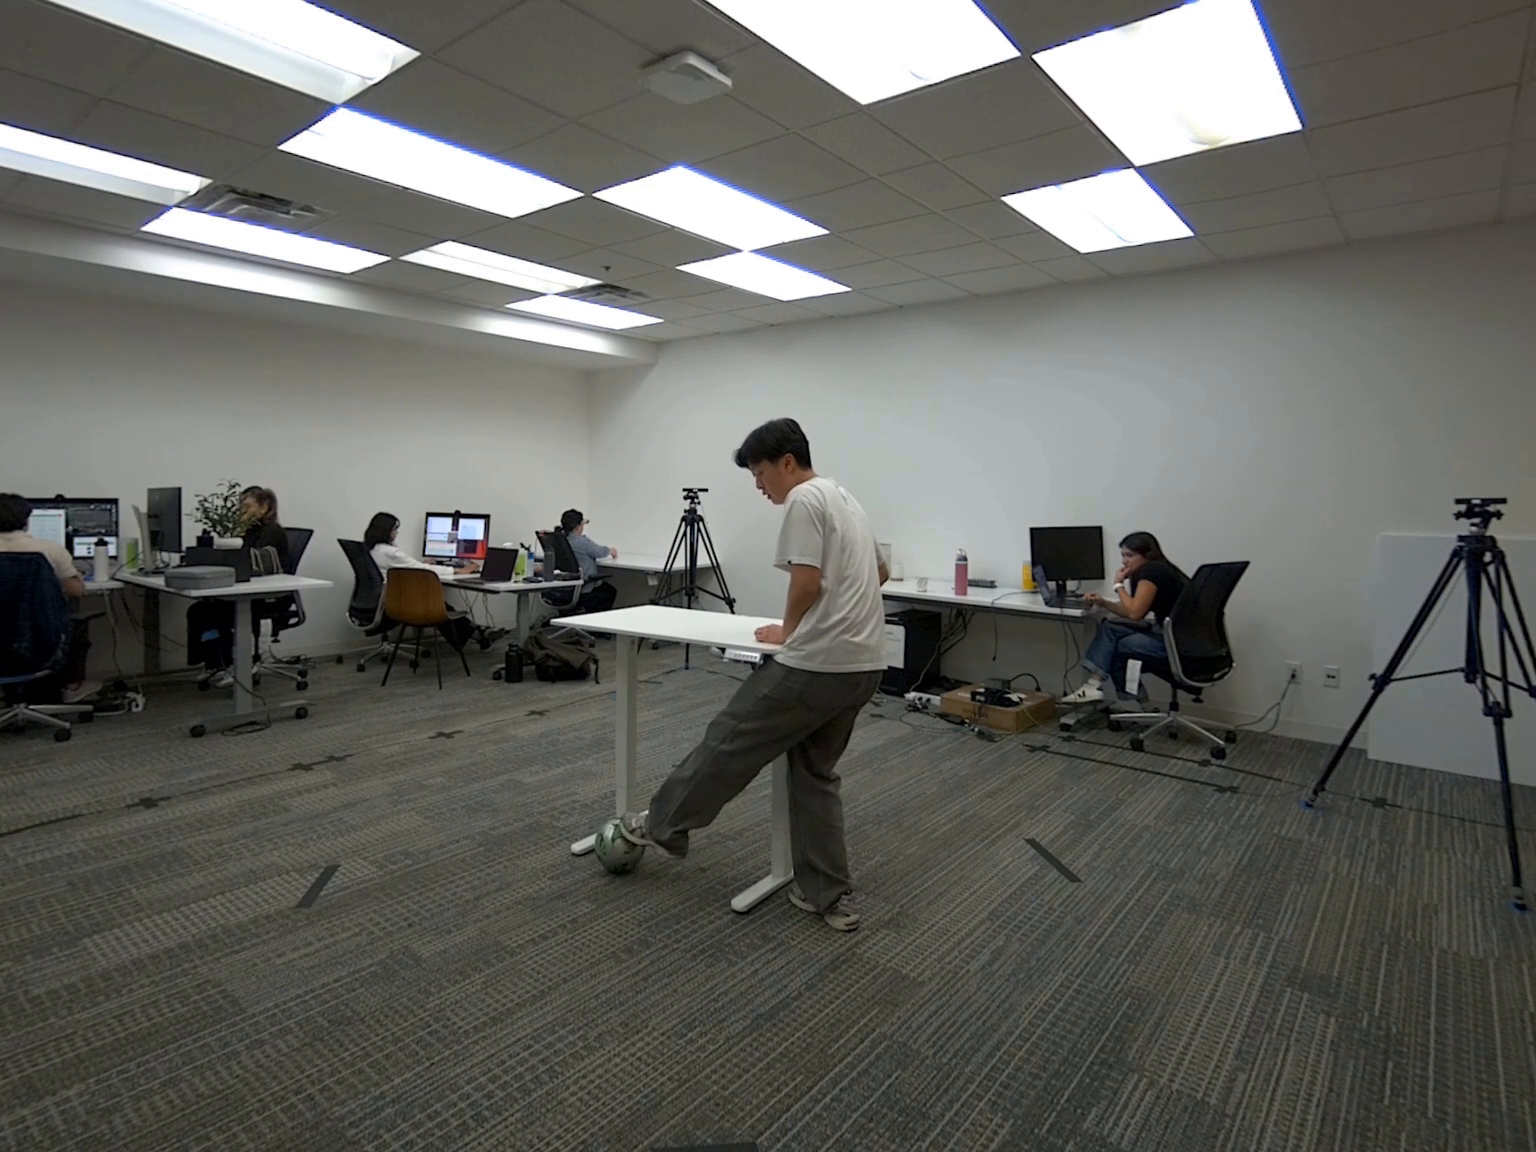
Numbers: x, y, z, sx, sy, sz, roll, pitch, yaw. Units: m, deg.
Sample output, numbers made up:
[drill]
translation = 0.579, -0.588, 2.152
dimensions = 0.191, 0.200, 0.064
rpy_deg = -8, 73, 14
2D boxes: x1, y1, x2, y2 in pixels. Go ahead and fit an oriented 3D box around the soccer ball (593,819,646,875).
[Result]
[soccer ball]
translation = -0.535, 0.969, 3.084
dimensions = 0.187, 0.187, 0.188
rpy_deg = 1, 4, -2
